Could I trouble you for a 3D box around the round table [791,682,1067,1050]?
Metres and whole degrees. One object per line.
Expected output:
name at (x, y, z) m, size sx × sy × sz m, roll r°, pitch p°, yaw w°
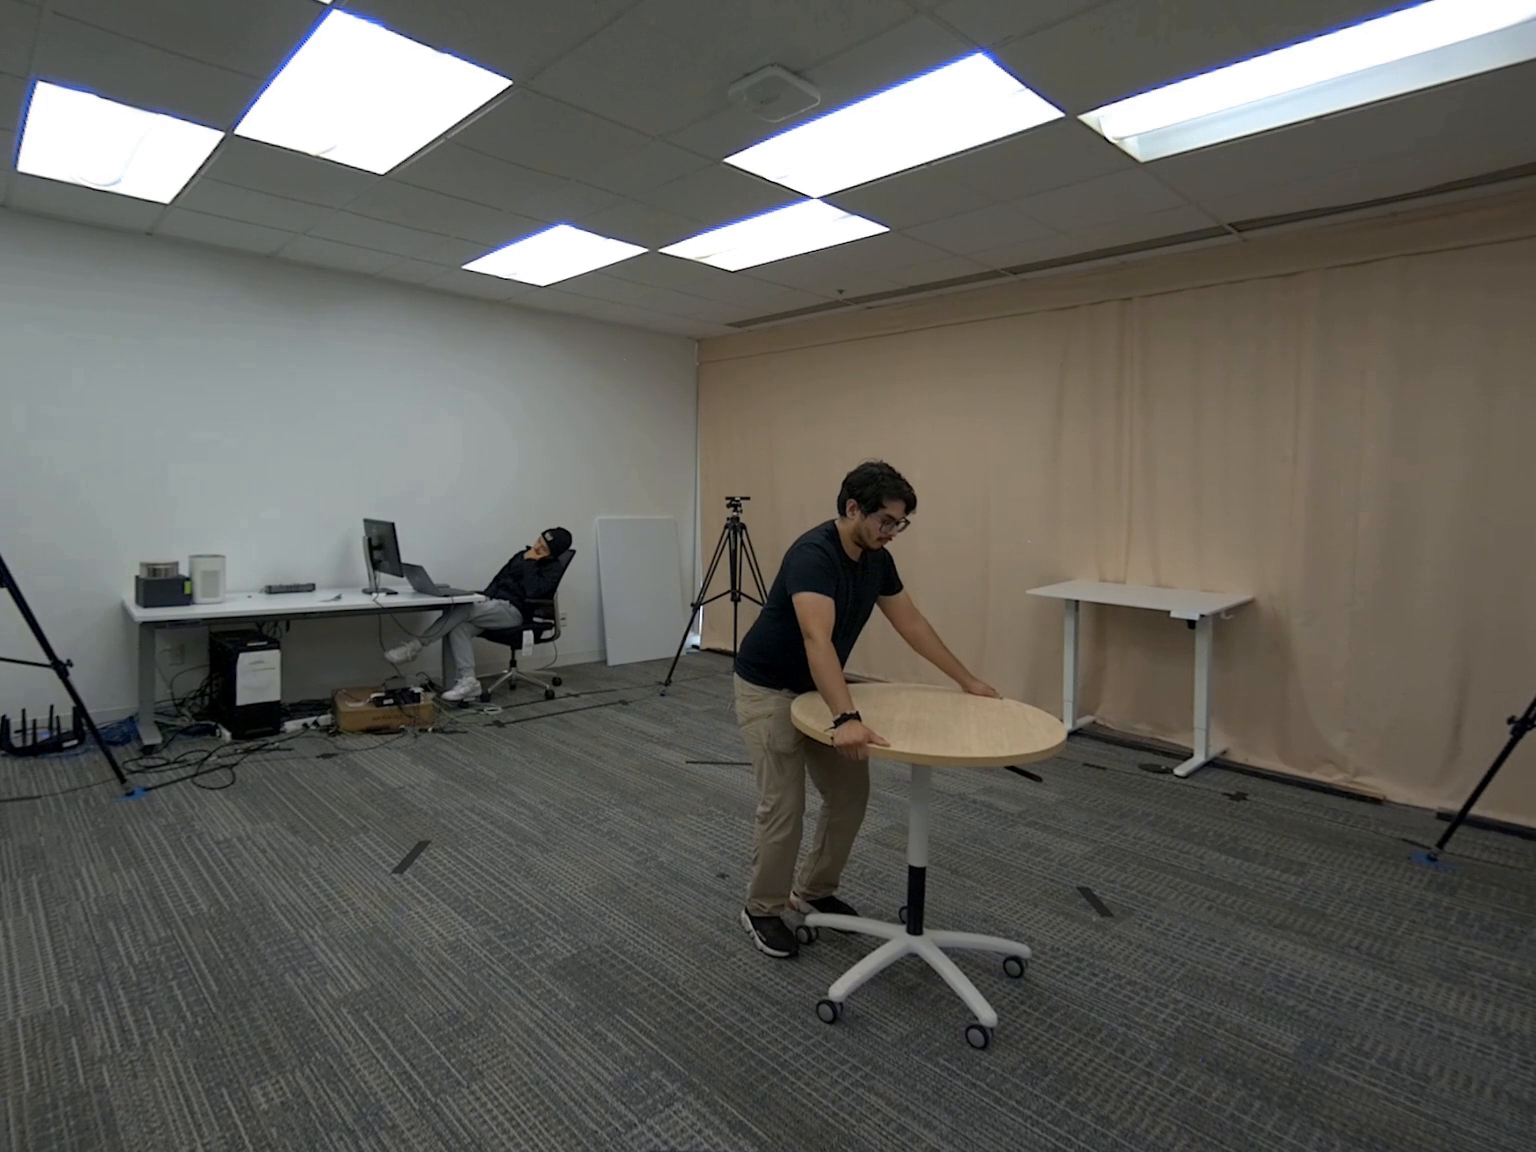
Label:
round table at (0.440, 0.782, 2.451) m, size 0.784 × 0.784 × 0.788 m, roll 2°, pitch 4°, yaw -2°
